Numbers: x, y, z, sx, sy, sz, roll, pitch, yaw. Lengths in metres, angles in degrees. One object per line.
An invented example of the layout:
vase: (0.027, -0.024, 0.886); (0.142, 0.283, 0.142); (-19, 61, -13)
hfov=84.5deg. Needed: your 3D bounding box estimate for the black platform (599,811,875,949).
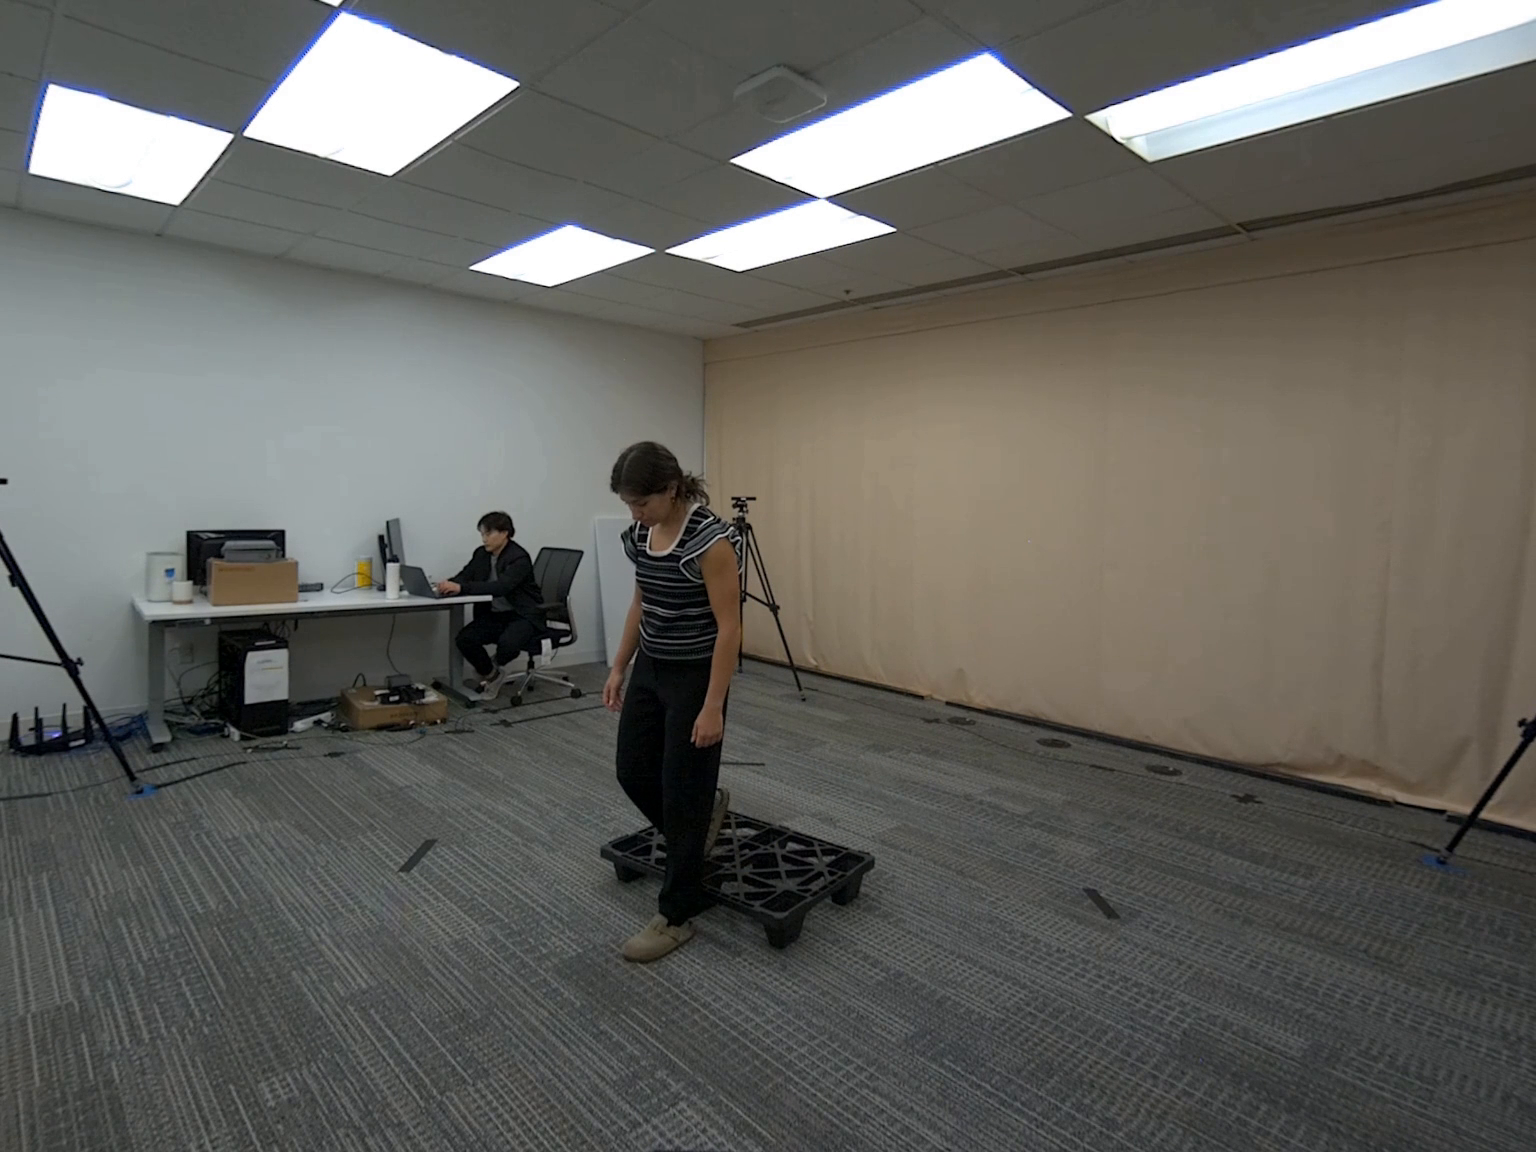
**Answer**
black platform: (-0.118, 1.052, 3.003); (0.825, 0.143, 0.592); (5, 7, 37)
